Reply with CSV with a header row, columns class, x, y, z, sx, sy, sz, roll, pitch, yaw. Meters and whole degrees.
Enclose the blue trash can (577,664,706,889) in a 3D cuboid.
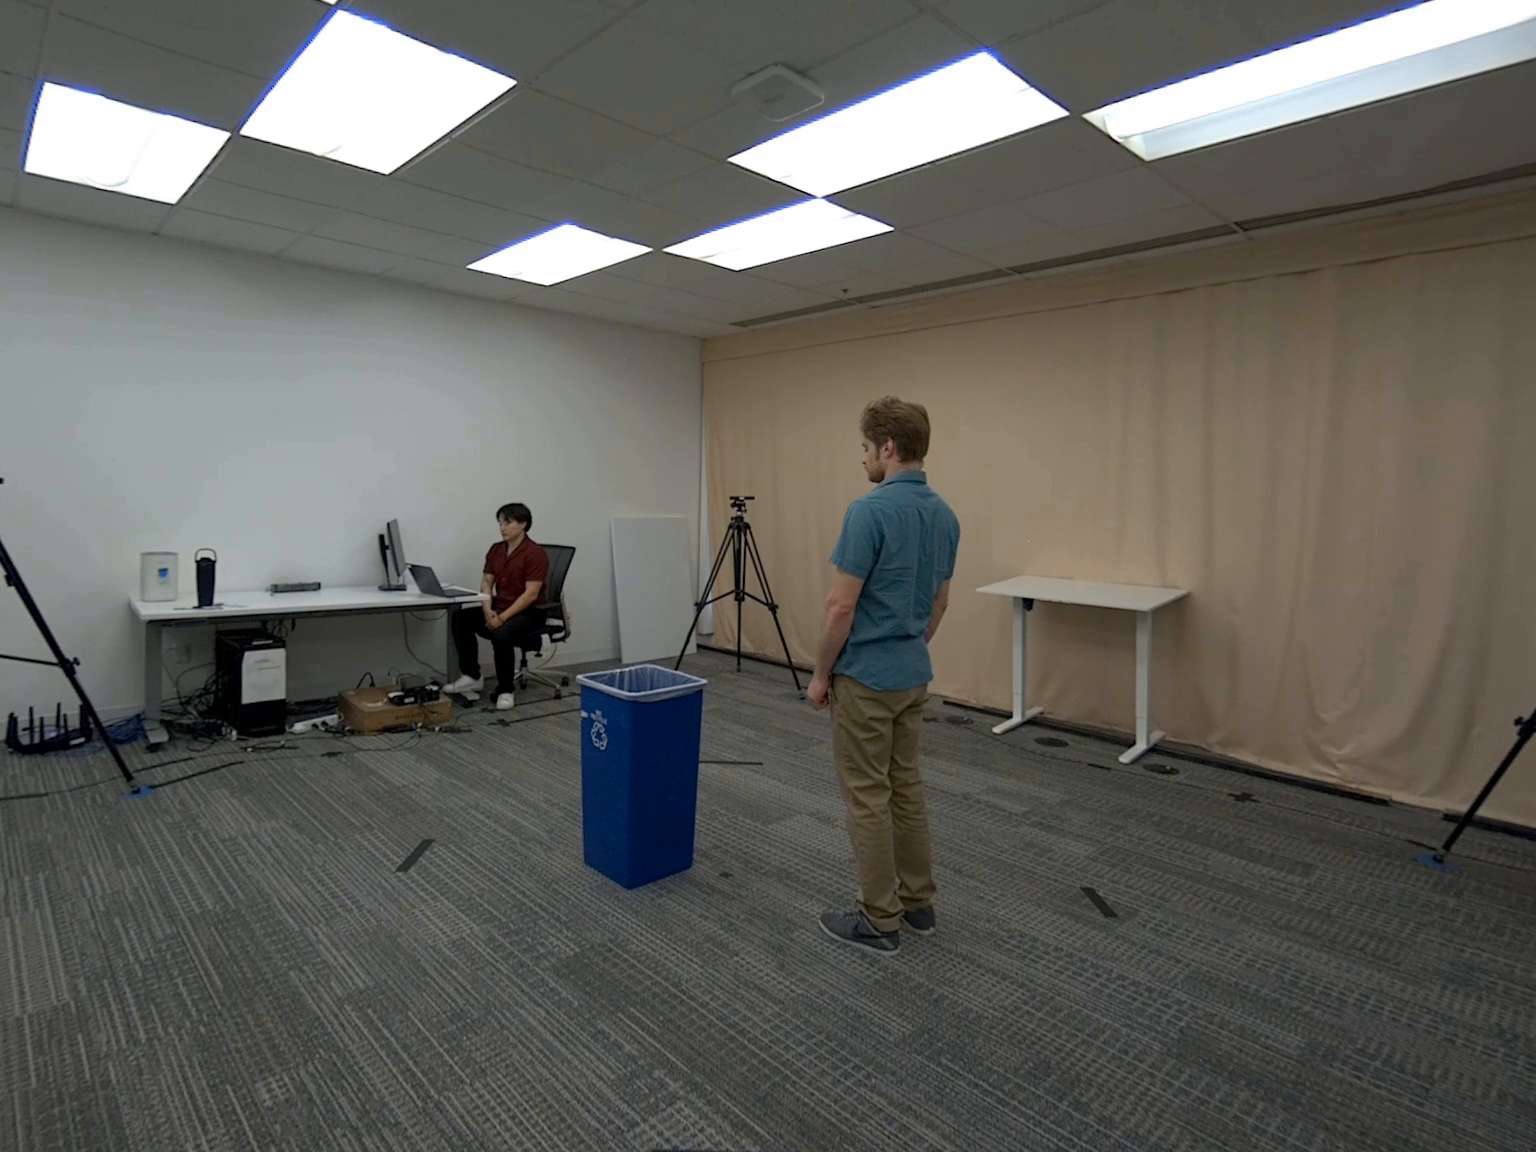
class,x,y,z,sx,sy,sz,roll,pitch,yaw
blue trash can,-0.488,0.736,3.161,0.388,0.711,0.366,6,7,45
